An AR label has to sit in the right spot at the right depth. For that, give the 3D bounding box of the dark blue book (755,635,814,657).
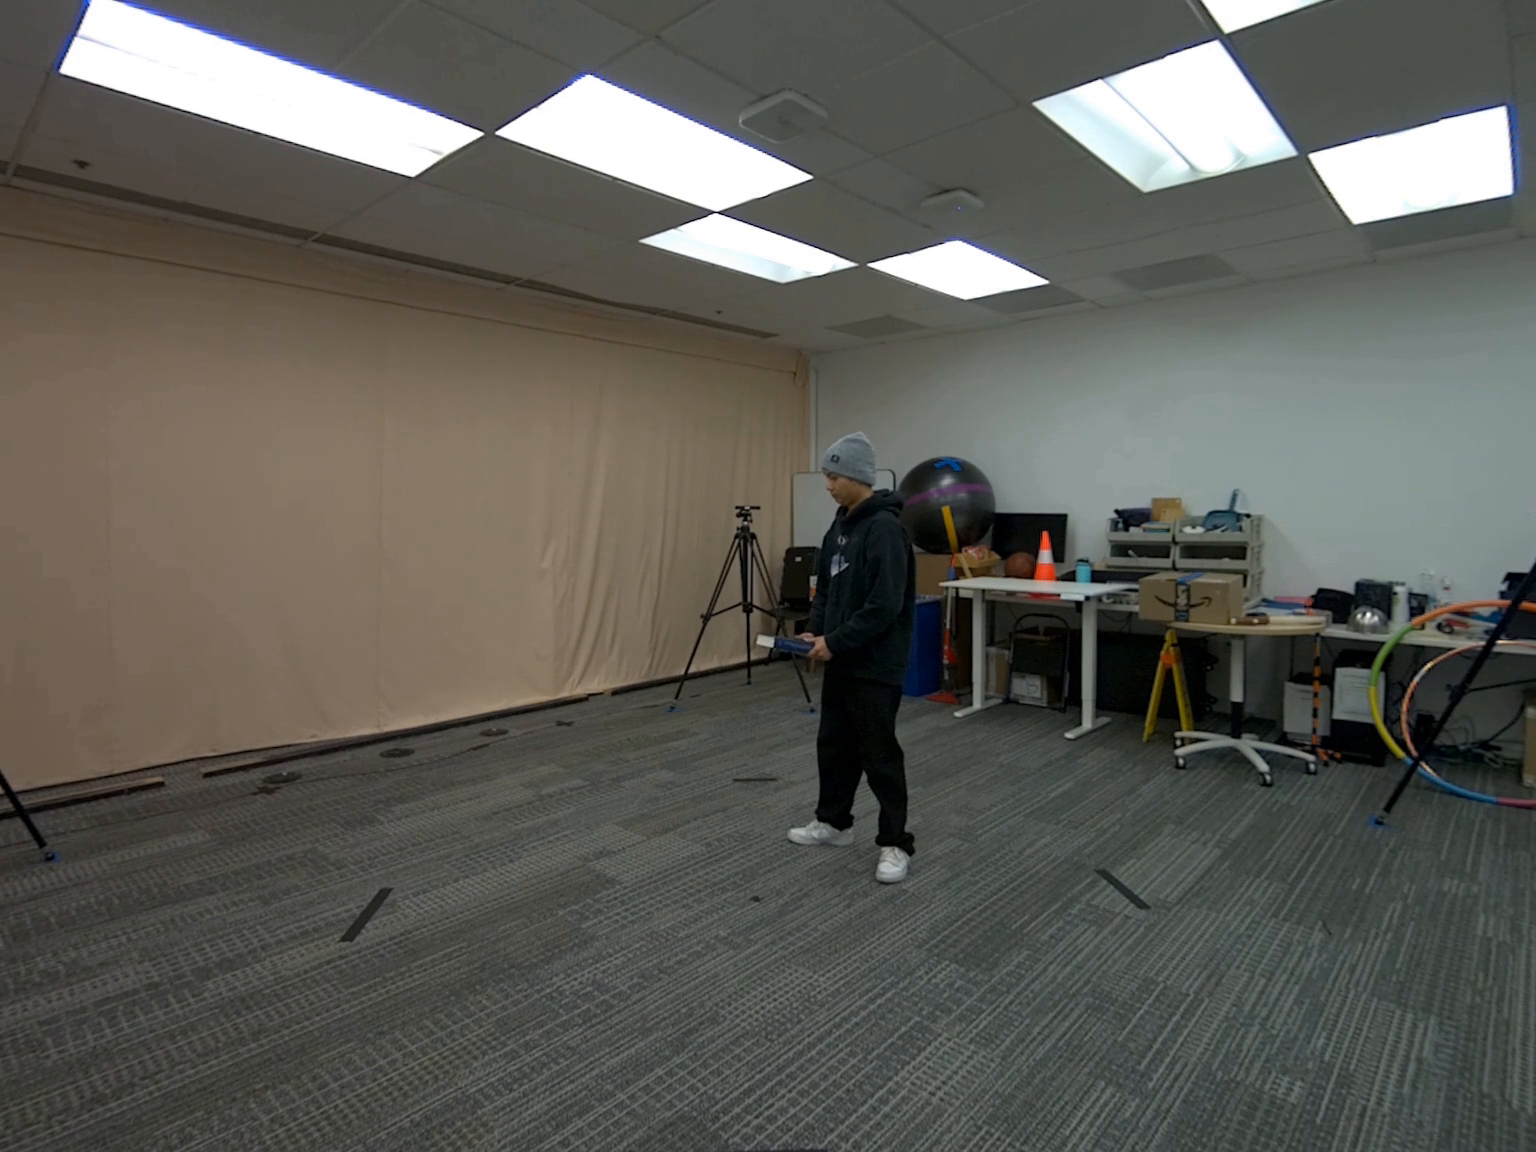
[{"bbox_3d":[0.110,0.270,3.178,0.240,0.045,0.166,11,-5,-18],"label":"dark blue book"}]
